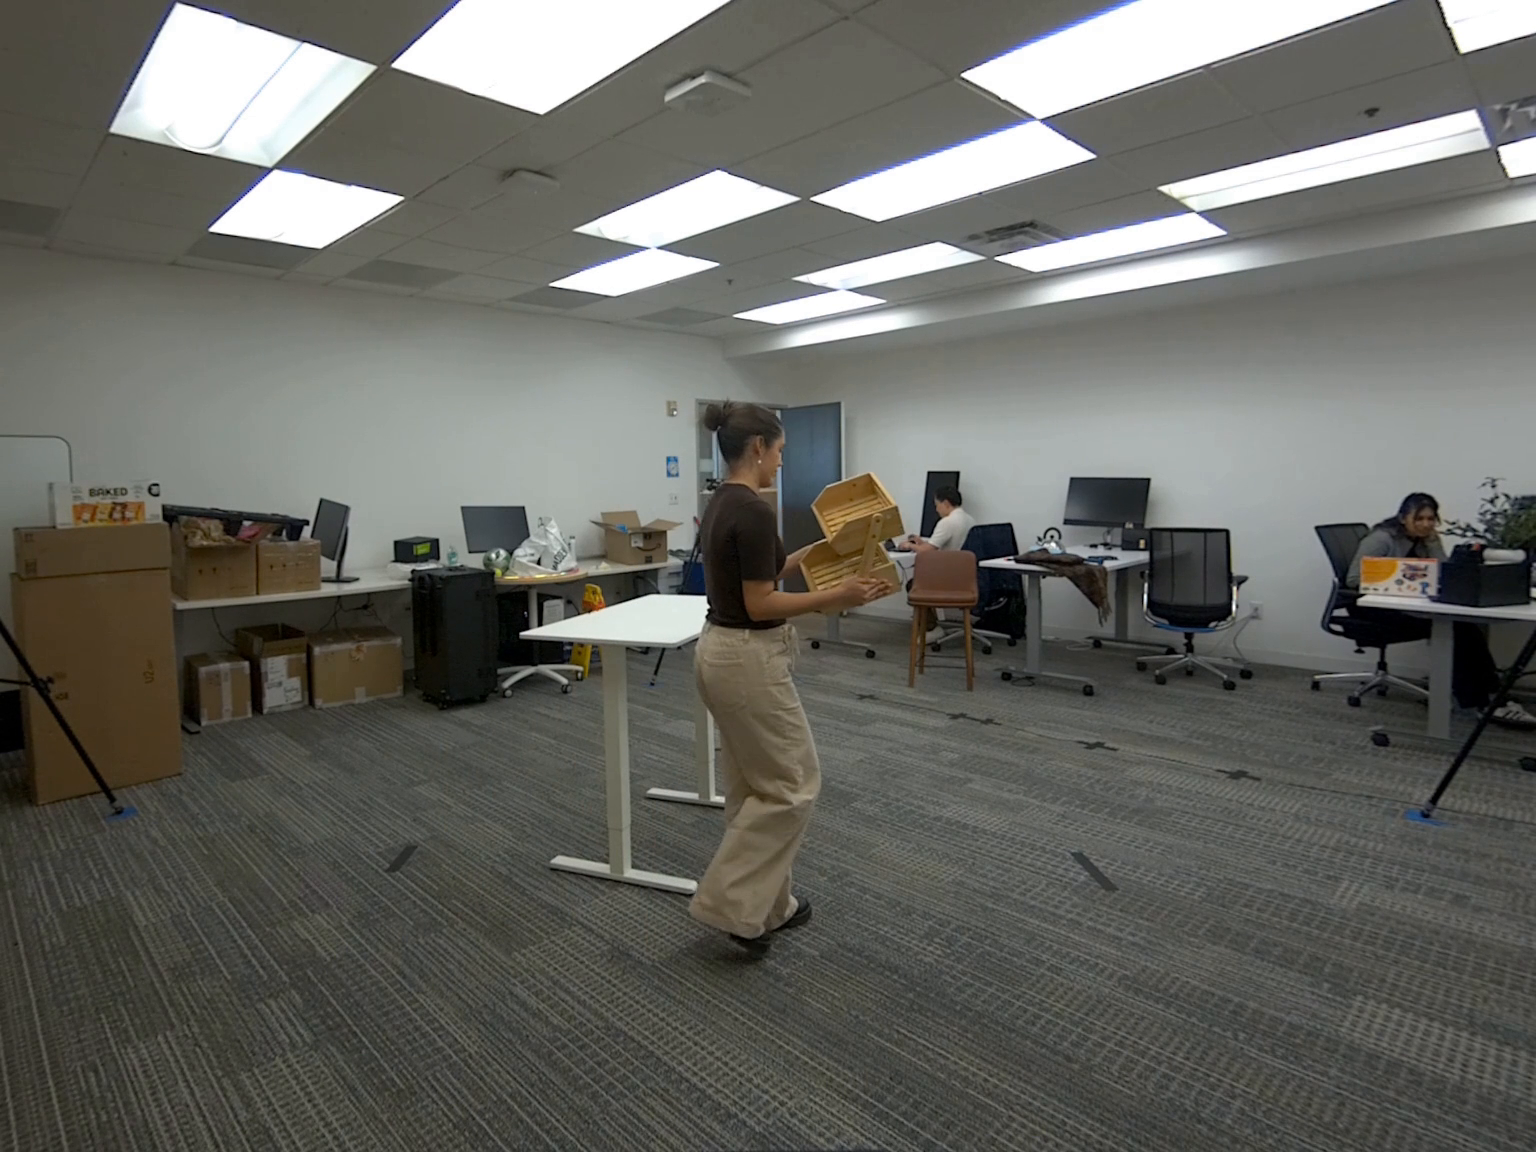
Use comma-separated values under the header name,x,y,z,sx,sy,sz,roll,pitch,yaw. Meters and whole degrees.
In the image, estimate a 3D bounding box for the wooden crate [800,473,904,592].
name,x,y,z,sx,sy,sz,roll,pitch,yaw
wooden crate,0.229,-0.099,2.524,0.302,0.266,0.332,-20,25,2
